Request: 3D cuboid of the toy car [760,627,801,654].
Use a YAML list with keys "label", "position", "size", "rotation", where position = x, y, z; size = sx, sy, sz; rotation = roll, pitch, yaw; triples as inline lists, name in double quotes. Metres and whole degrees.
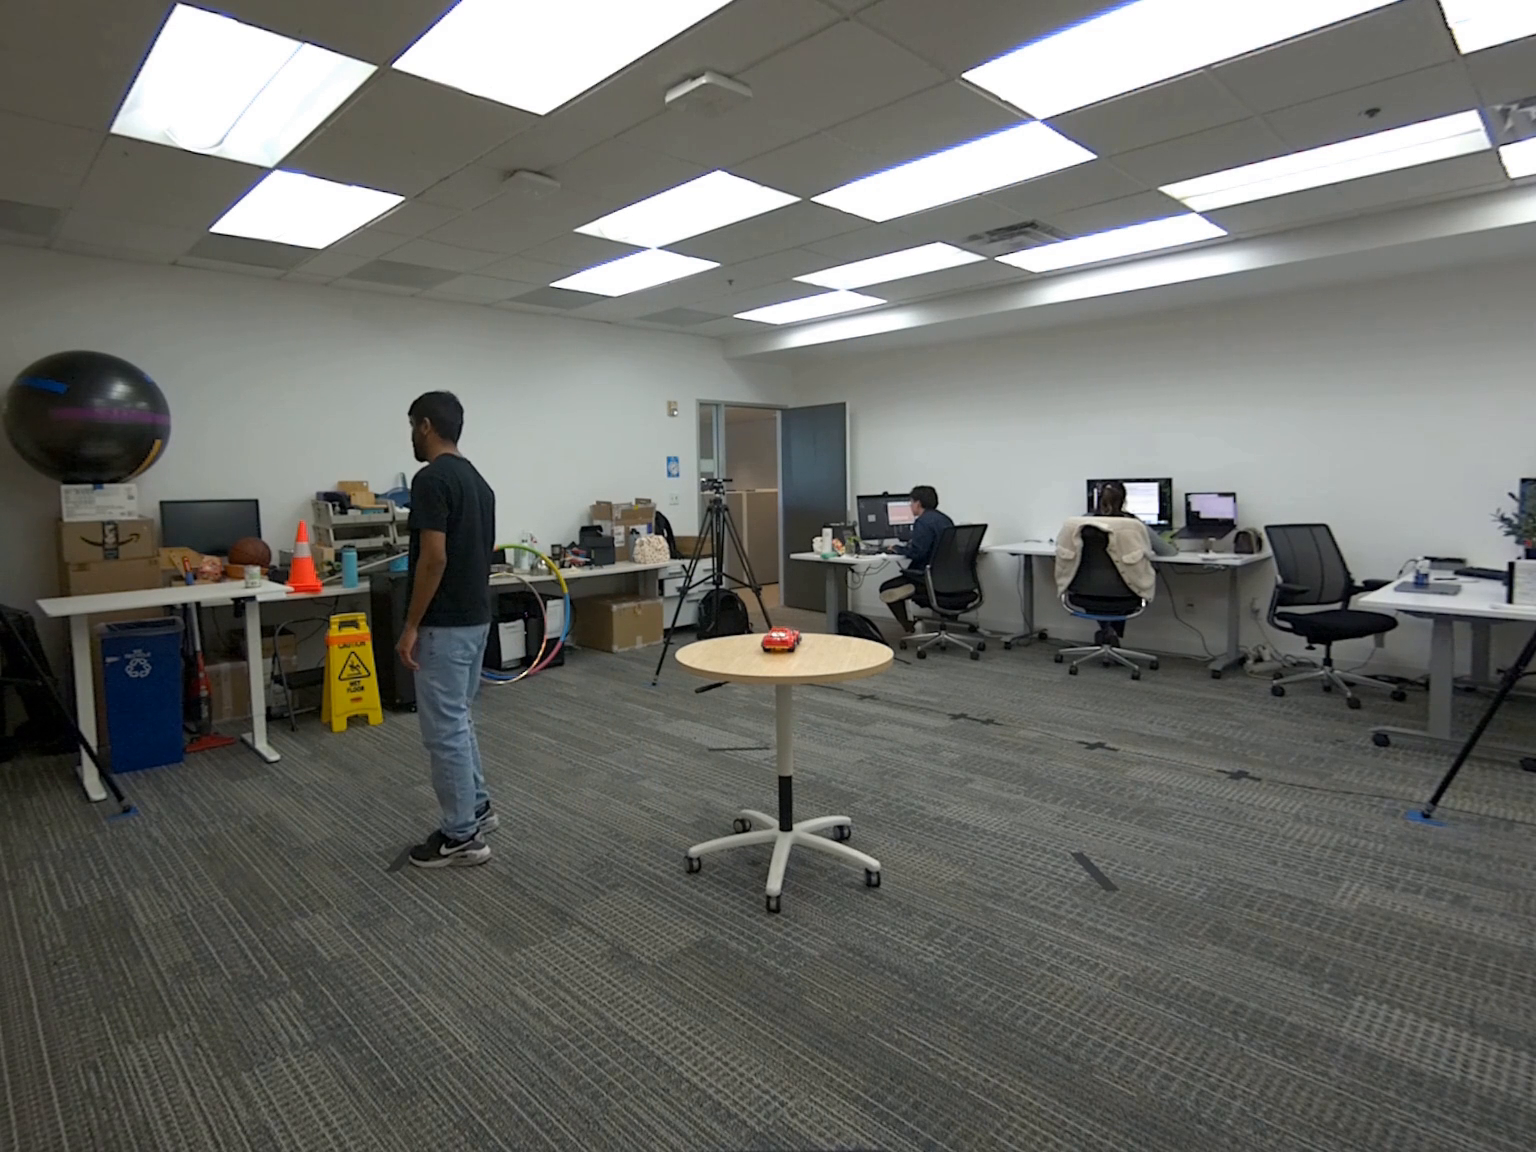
- label: "toy car"
  position: [0.043, 0.229, 3.077]
  size: [0.132, 0.083, 0.250]
  rotation: [1, -5, 10]
